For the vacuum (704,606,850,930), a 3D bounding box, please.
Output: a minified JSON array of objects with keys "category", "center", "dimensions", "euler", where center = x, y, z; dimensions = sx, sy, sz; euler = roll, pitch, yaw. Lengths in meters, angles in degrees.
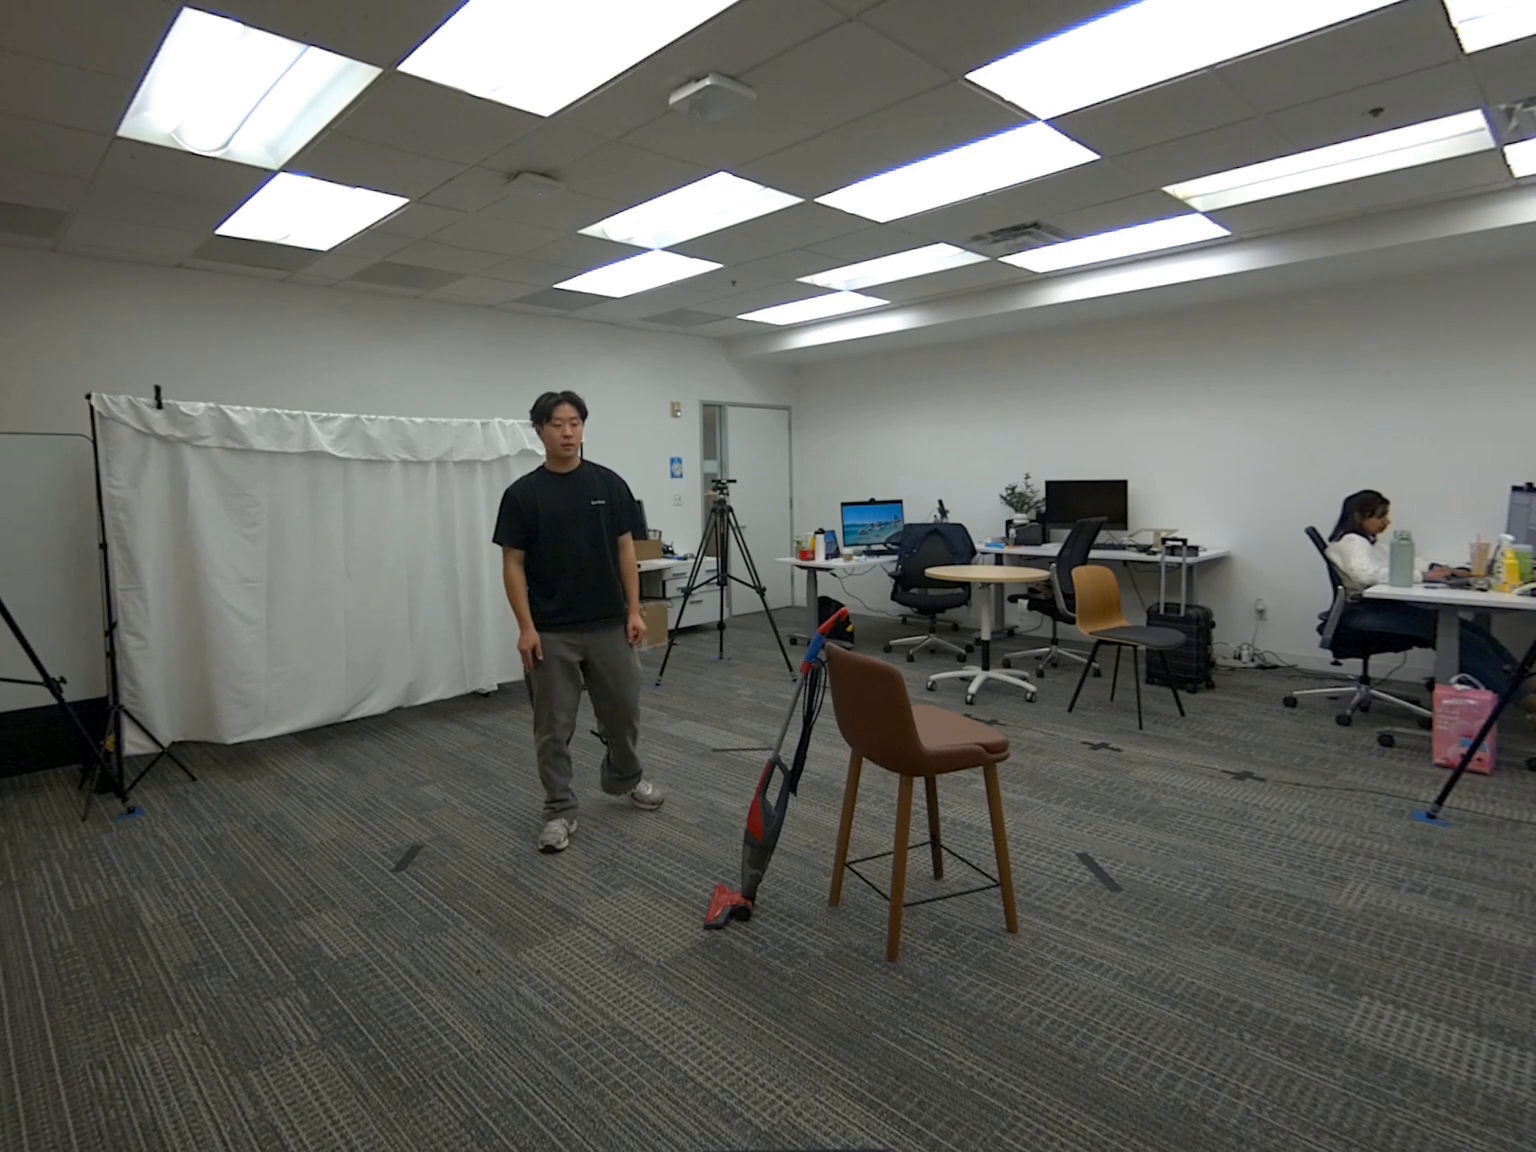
[{"category":"vacuum","center":[0.062,0.595,2.712],"dimensions":[0.144,1.045,0.254],"euler":[19,6,-2]}]
